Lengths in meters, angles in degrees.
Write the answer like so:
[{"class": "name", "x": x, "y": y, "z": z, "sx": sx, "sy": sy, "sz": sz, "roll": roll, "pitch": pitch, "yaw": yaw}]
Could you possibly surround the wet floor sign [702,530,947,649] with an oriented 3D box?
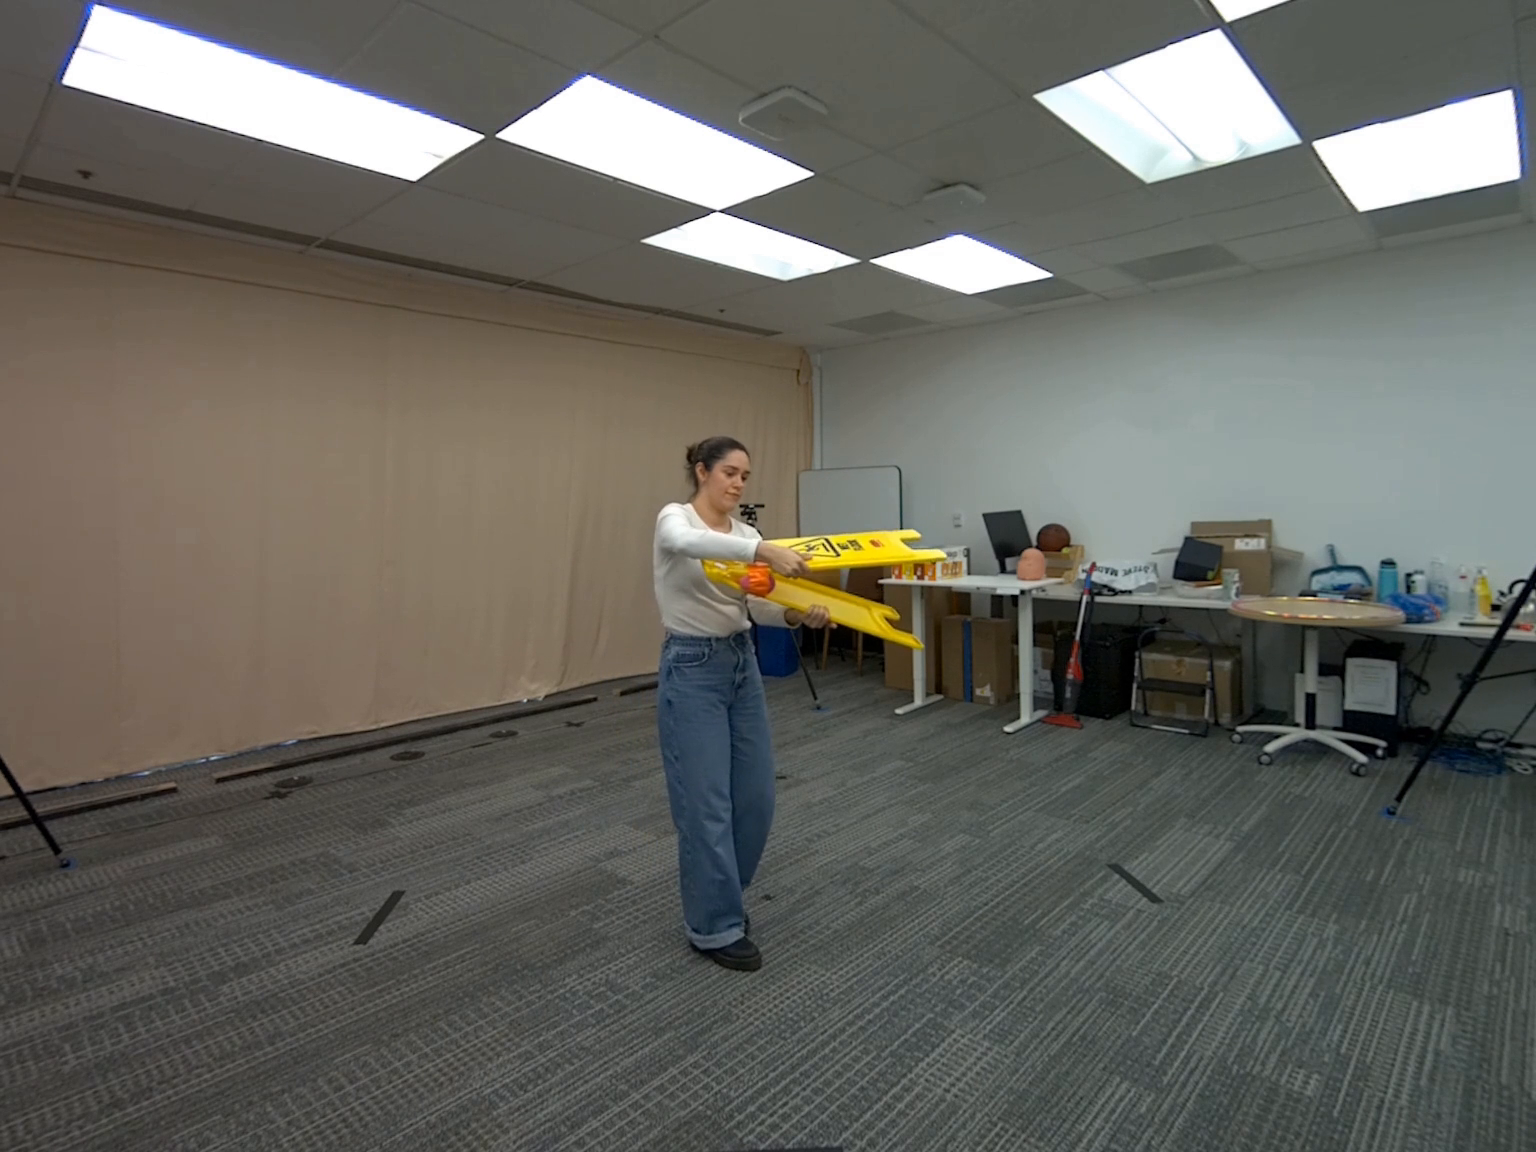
[{"class": "wet floor sign", "x": 0.134, "y": 0.011, "z": 2.394, "sx": 0.640, "sy": 0.287, "sz": 0.287, "roll": 6, "pitch": 17, "yaw": -8}]
